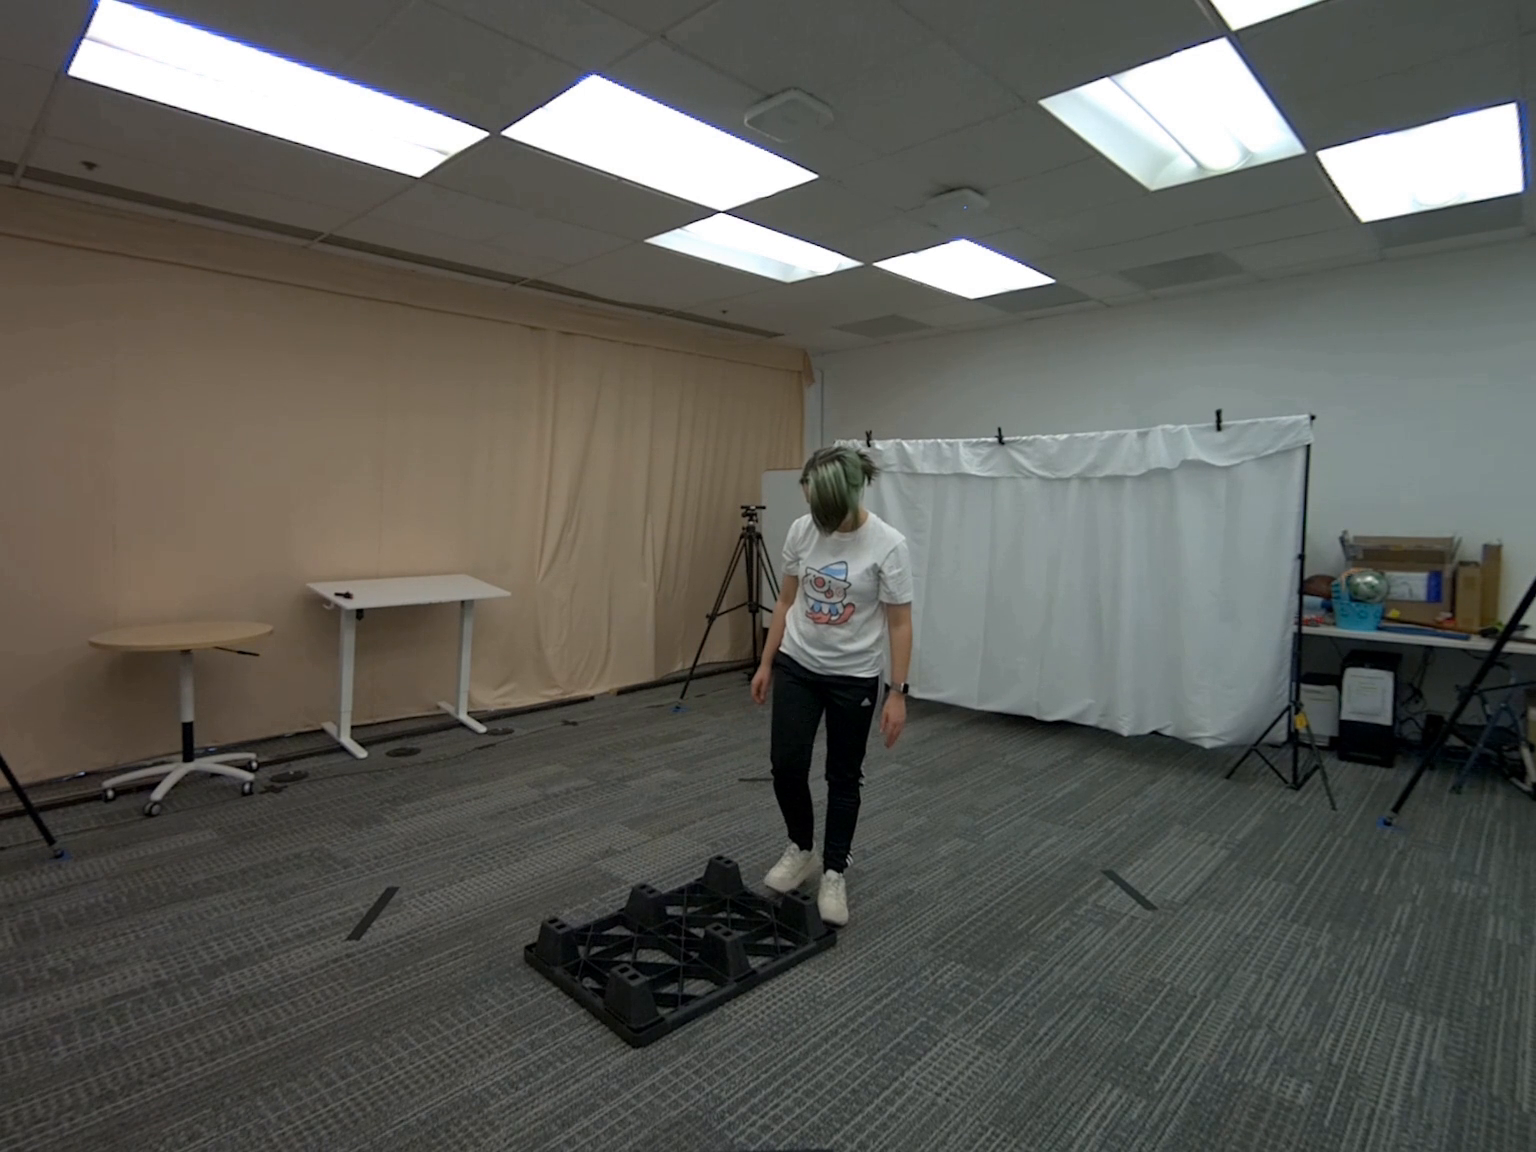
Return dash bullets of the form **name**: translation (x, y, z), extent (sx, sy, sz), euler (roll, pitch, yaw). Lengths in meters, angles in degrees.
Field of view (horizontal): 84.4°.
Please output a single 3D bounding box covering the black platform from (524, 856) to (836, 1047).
- **black platform**: translation (-0.265, 1.109, 2.638), extent (0.781, 0.143, 0.625), euler (-4, 7, -44)
